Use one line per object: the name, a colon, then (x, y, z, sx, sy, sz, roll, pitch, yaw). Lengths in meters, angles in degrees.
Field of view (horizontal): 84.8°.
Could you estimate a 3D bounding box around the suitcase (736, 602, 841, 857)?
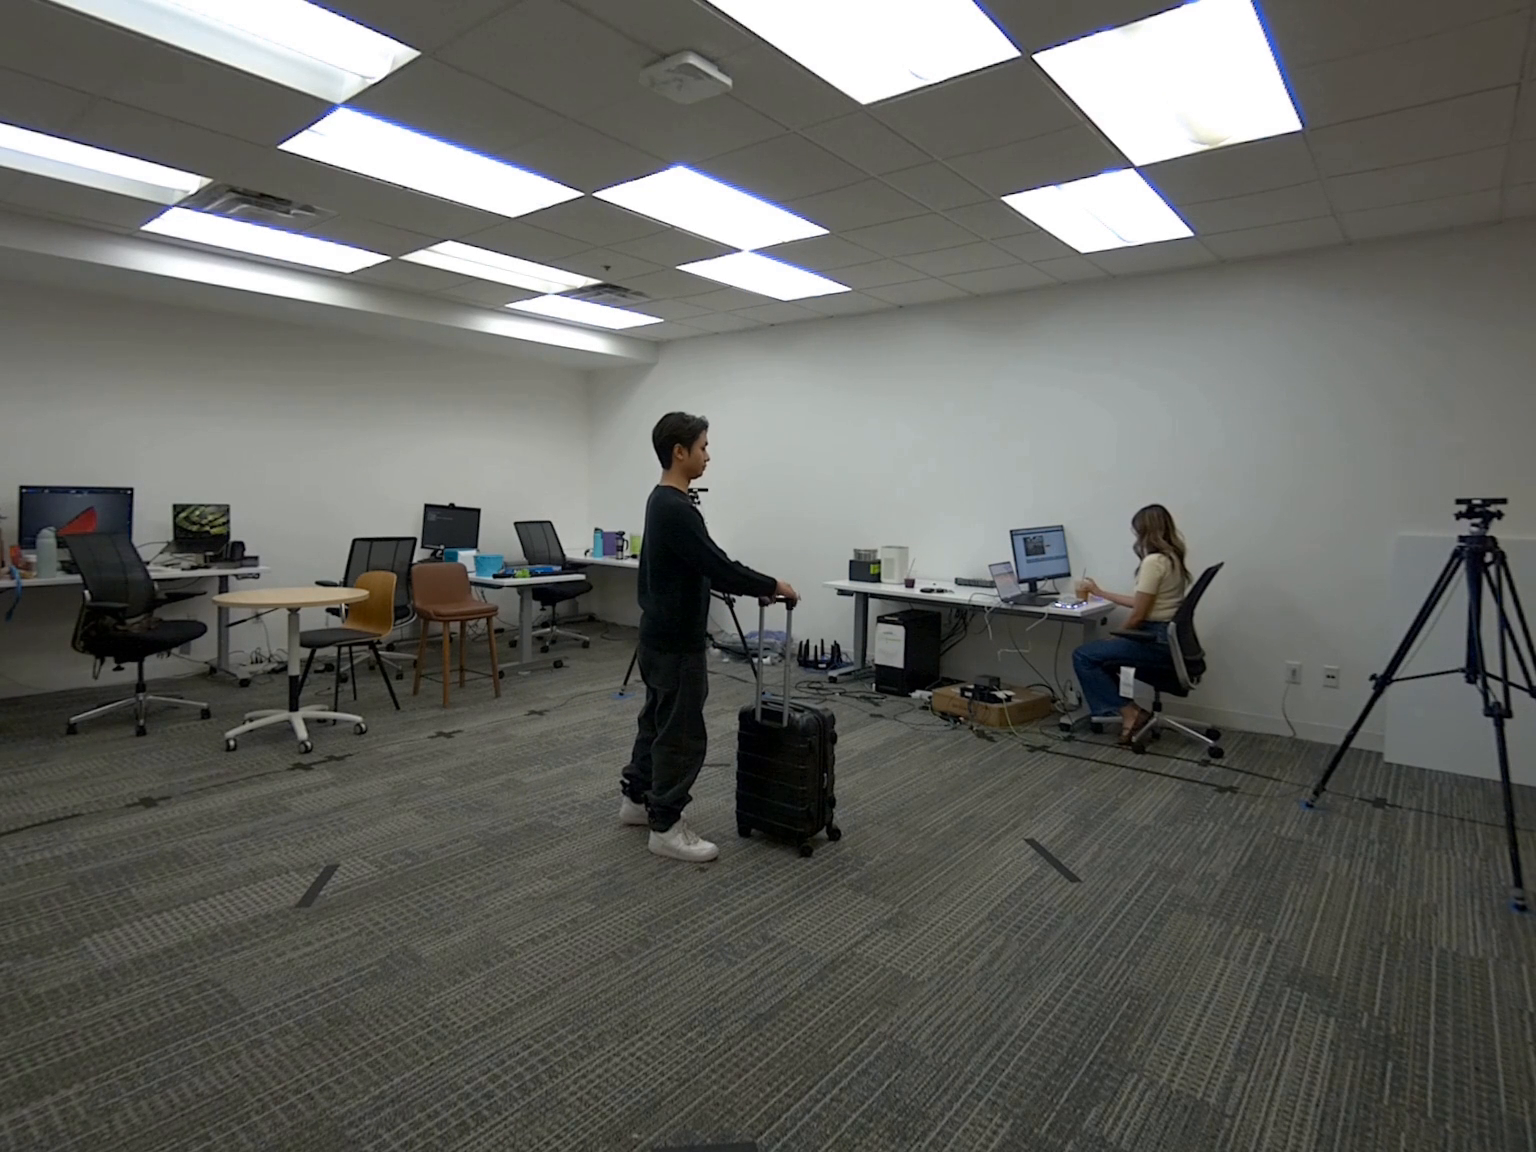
suitcase: (0.071, 0.572, 3.408, 0.396, 0.977, 0.249, 3, 2, 37)
